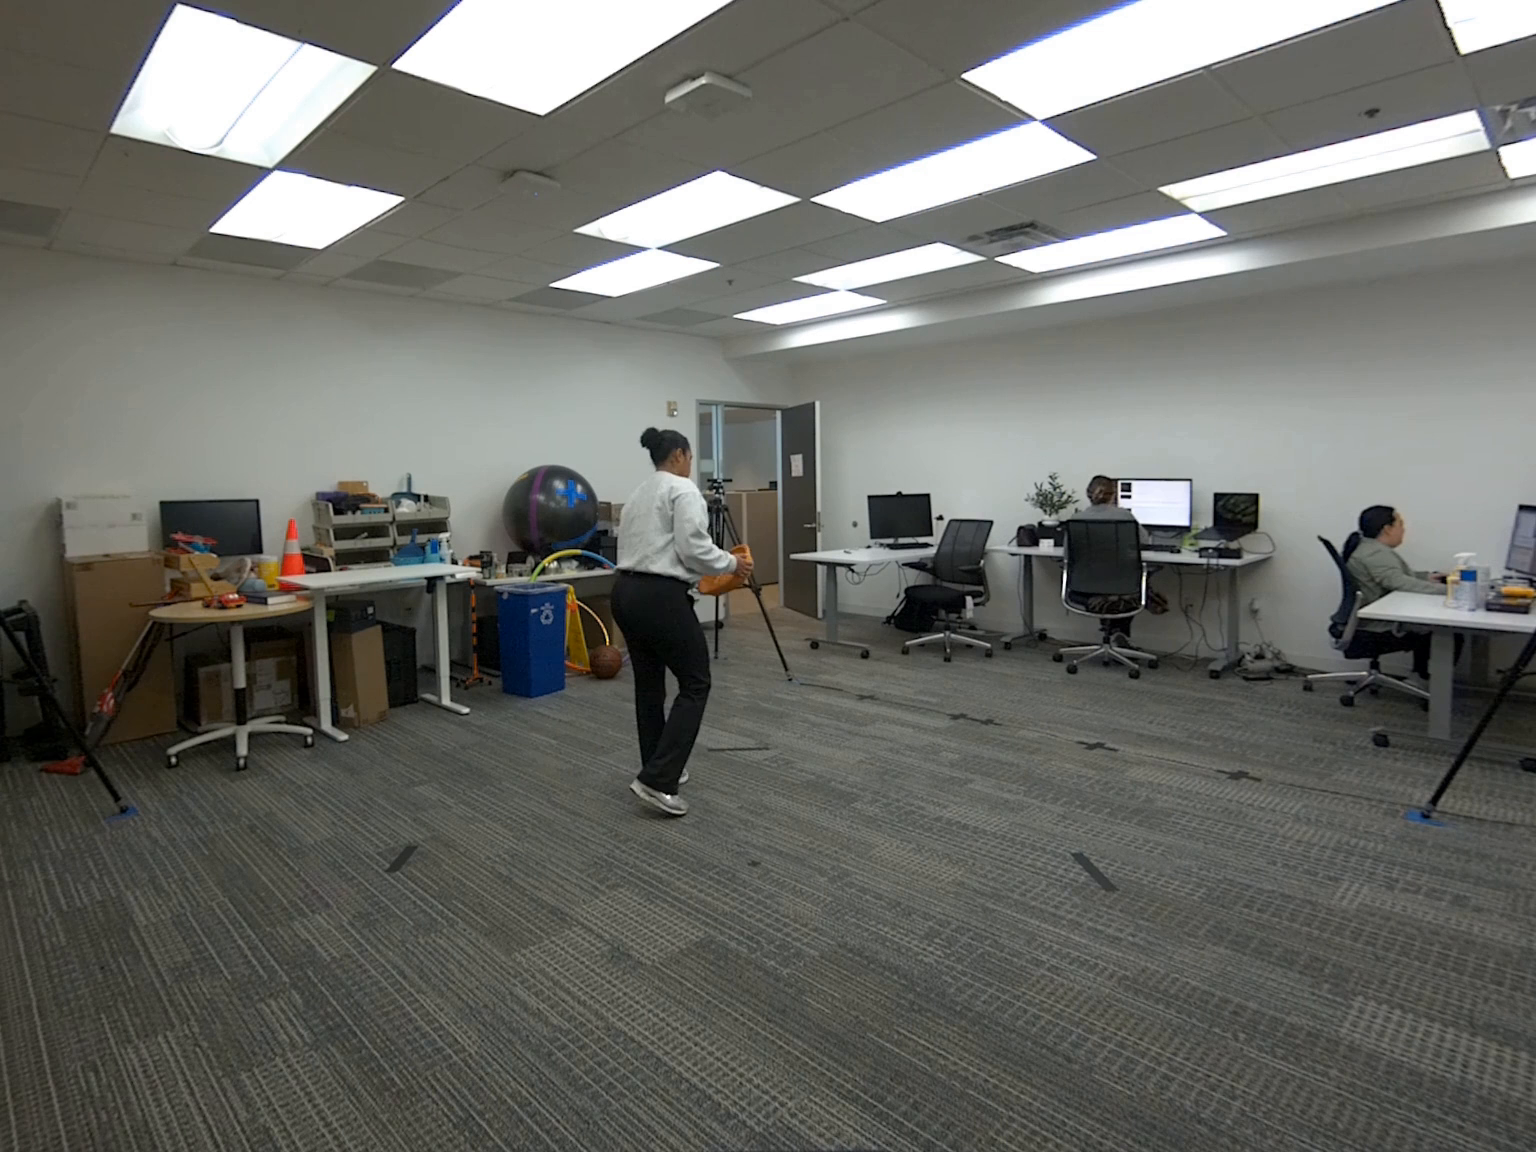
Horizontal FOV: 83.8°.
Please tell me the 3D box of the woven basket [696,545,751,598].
[{"bbox_3d":[-0.185,-0.005,3.911,0.071,0.255,0.356,40,-32,-23],"label":"woven basket"}]
